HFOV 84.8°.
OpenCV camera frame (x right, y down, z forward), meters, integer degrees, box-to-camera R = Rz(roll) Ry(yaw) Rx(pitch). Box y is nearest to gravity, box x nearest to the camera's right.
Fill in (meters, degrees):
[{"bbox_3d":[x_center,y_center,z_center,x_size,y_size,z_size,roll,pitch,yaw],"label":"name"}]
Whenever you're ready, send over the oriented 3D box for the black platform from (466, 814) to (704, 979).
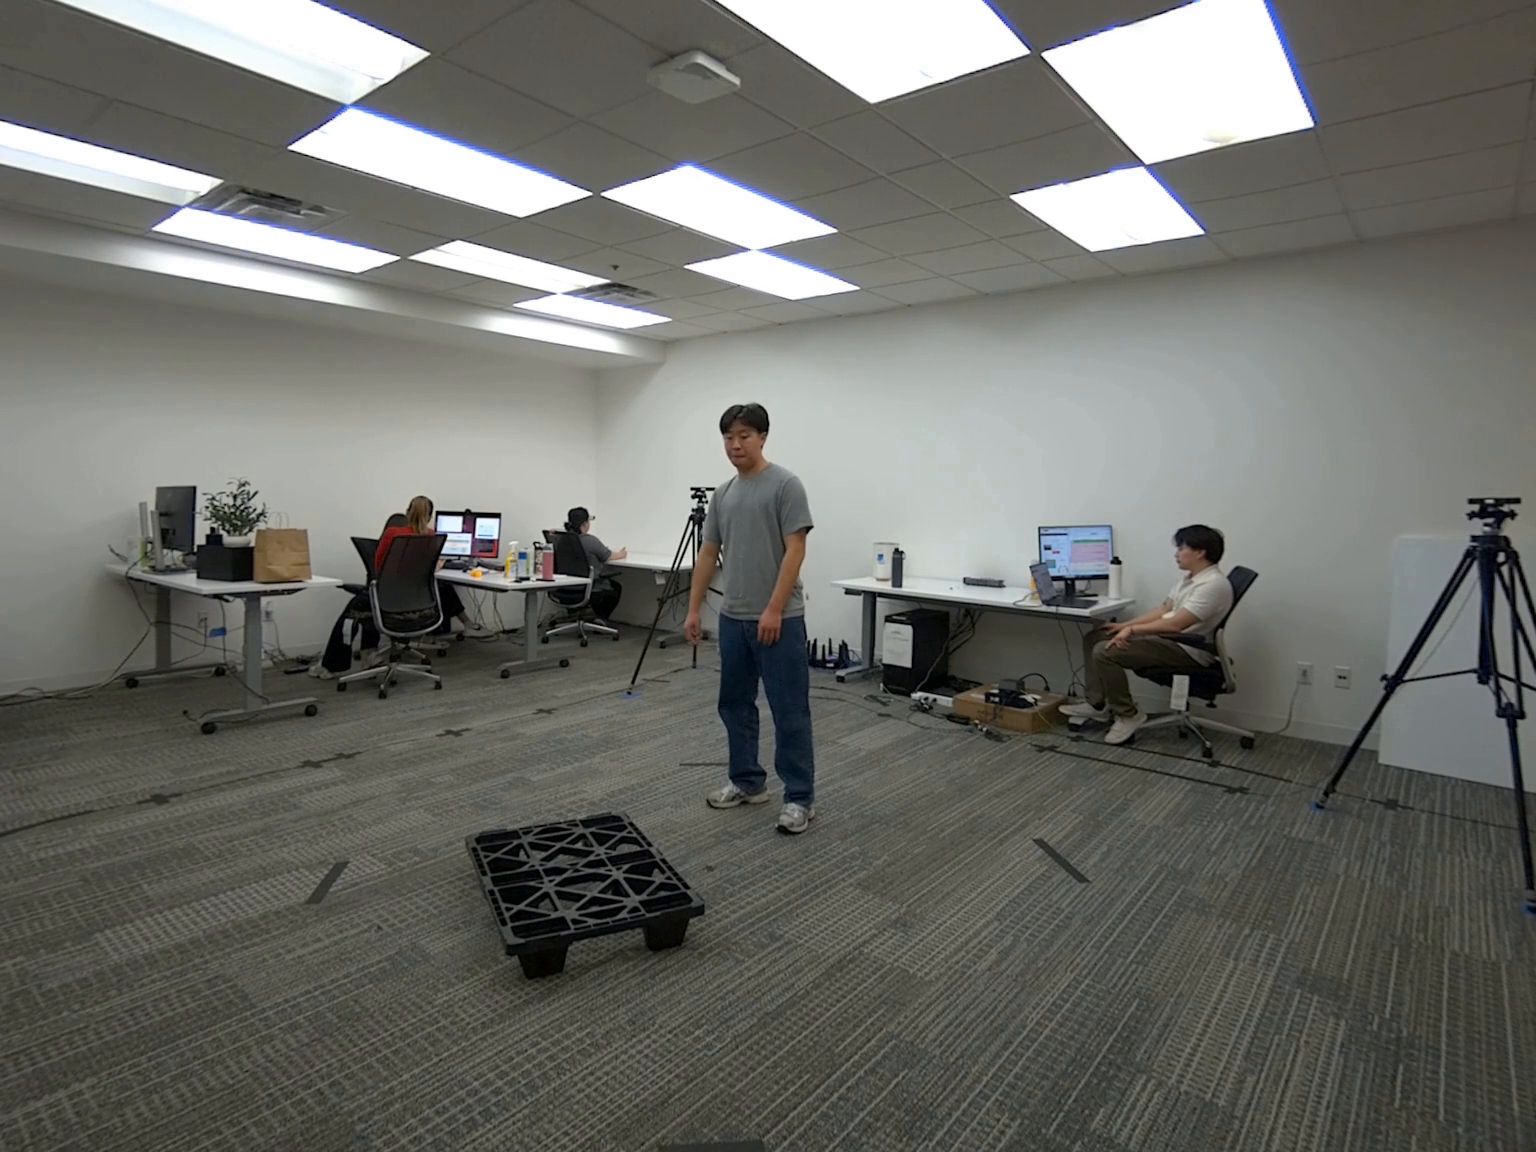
[{"bbox_3d":[-0.643,1.020,2.811,0.591,0.143,0.829,-2,7,-26],"label":"black platform"}]
